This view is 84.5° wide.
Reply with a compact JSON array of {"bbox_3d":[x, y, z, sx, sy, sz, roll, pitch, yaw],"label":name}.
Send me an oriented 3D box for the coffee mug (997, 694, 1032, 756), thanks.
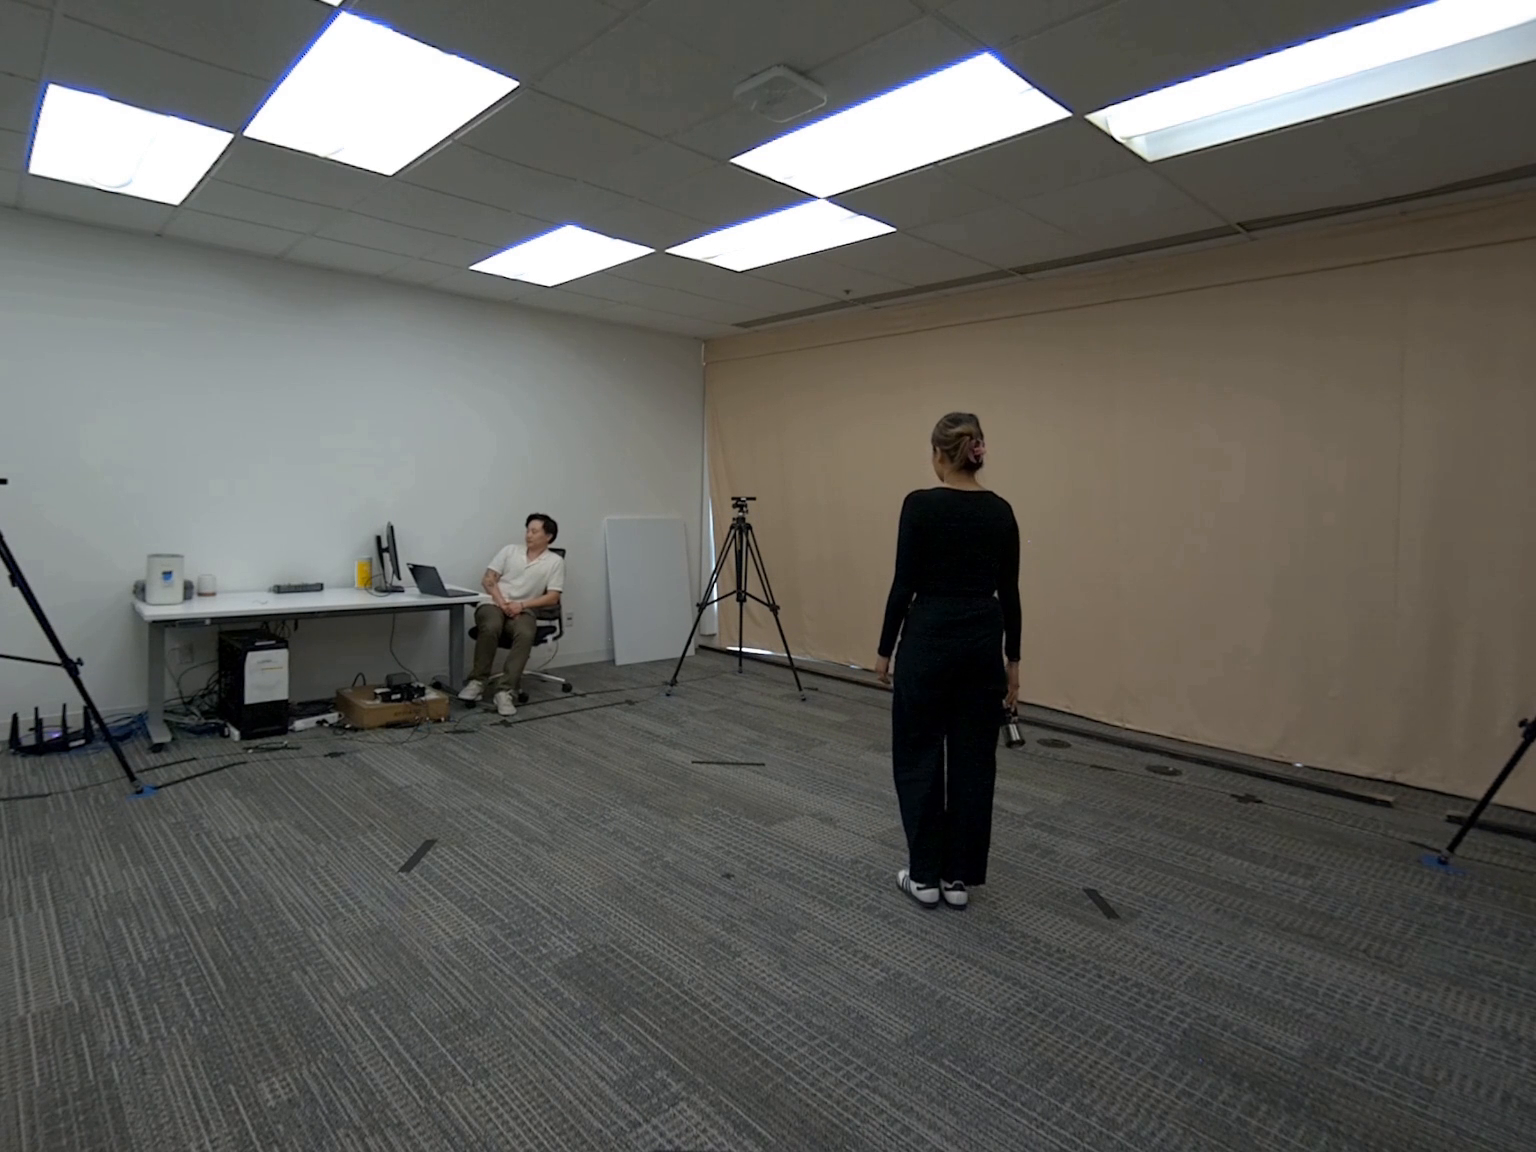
[{"bbox_3d":[0.881,0.532,3.081,0.089,0.206,0.118,-17,-31,30],"label":"coffee mug"}]
